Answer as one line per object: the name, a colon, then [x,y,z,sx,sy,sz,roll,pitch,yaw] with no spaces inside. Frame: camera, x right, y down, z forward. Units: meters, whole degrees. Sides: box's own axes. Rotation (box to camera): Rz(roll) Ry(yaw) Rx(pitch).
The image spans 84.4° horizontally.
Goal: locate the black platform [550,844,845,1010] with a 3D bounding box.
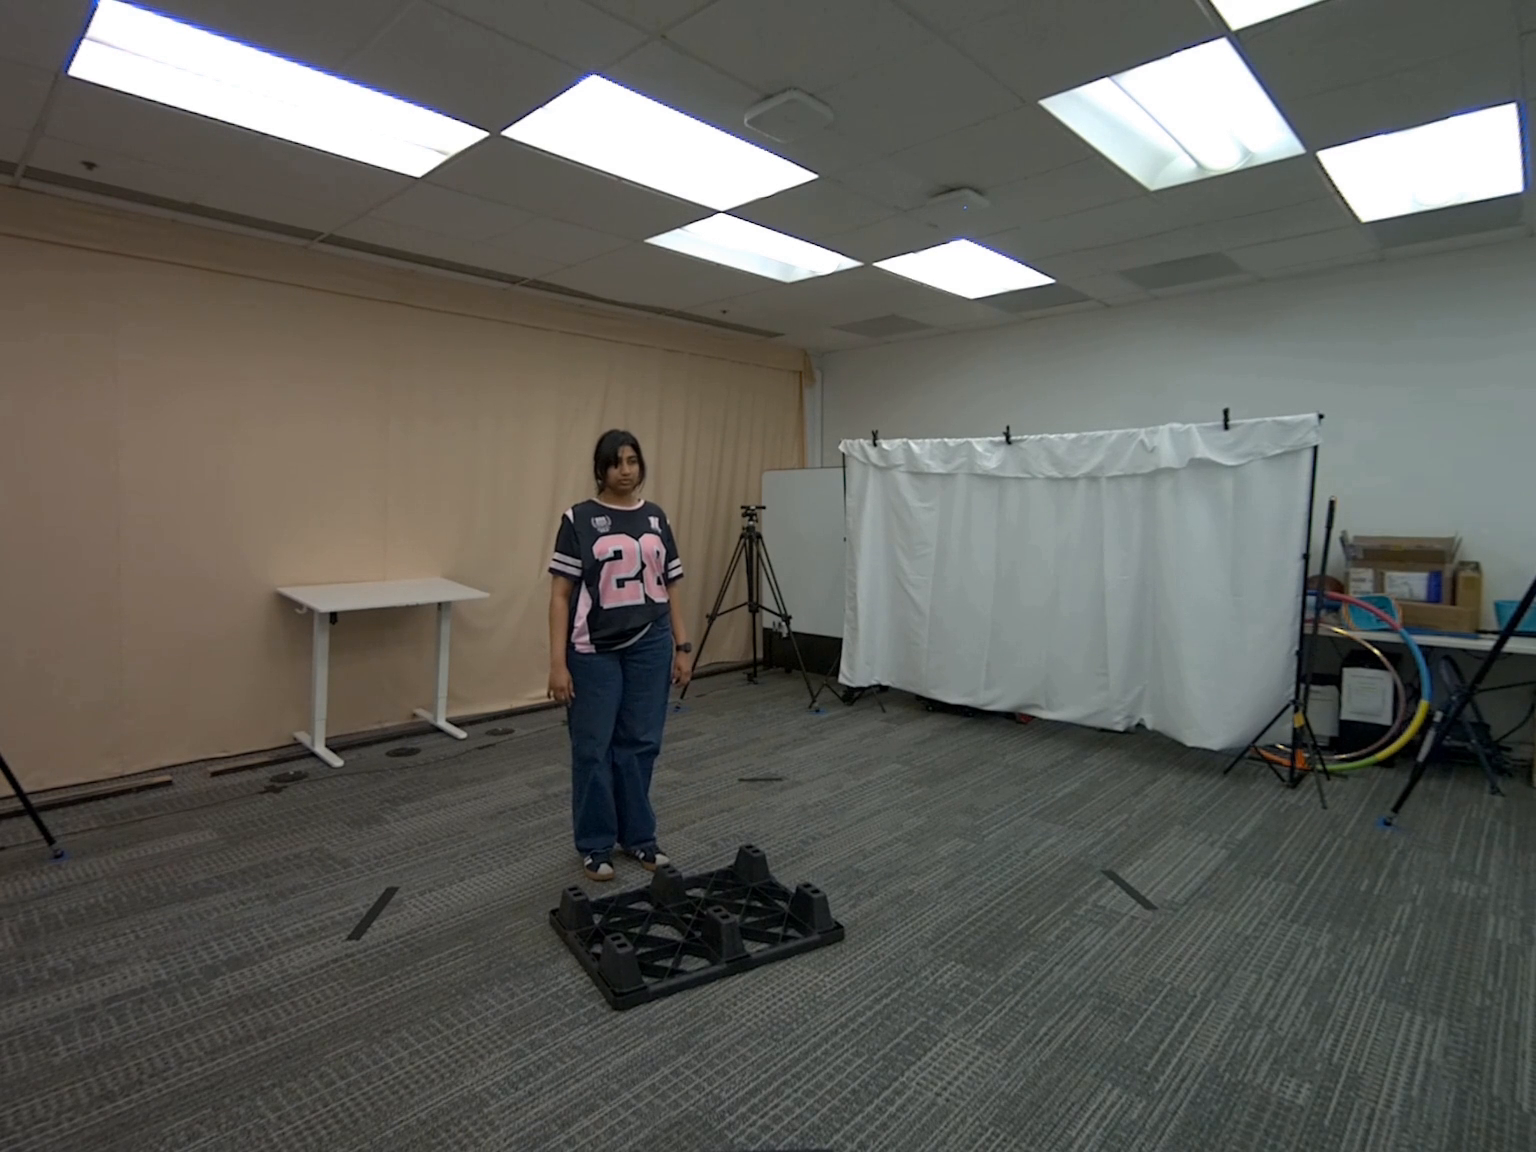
black platform: [-0.238,1.097,2.767,0.784,0.143,0.623,-3,6,-31]
